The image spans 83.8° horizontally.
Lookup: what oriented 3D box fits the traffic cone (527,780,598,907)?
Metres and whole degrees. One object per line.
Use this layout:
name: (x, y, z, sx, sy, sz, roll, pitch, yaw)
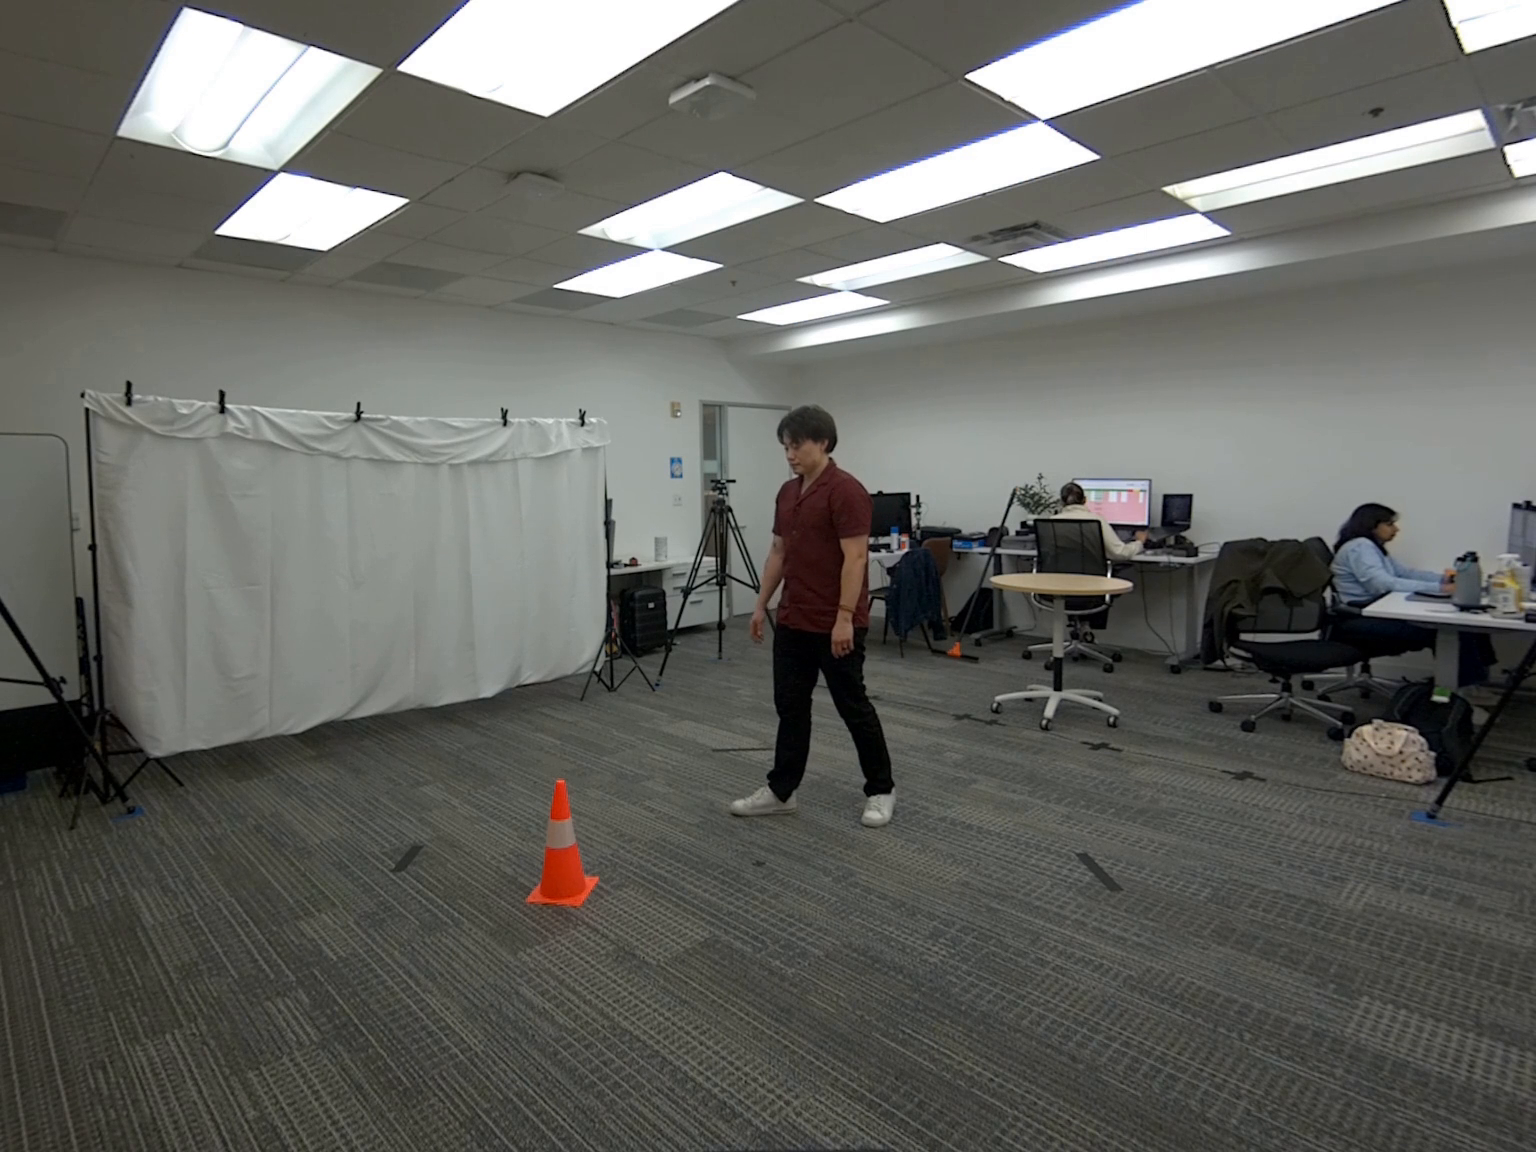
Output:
traffic cone: (-0.713, 0.897, 2.922, 0.206, 0.382, 0.203, -1, 5, 13)
